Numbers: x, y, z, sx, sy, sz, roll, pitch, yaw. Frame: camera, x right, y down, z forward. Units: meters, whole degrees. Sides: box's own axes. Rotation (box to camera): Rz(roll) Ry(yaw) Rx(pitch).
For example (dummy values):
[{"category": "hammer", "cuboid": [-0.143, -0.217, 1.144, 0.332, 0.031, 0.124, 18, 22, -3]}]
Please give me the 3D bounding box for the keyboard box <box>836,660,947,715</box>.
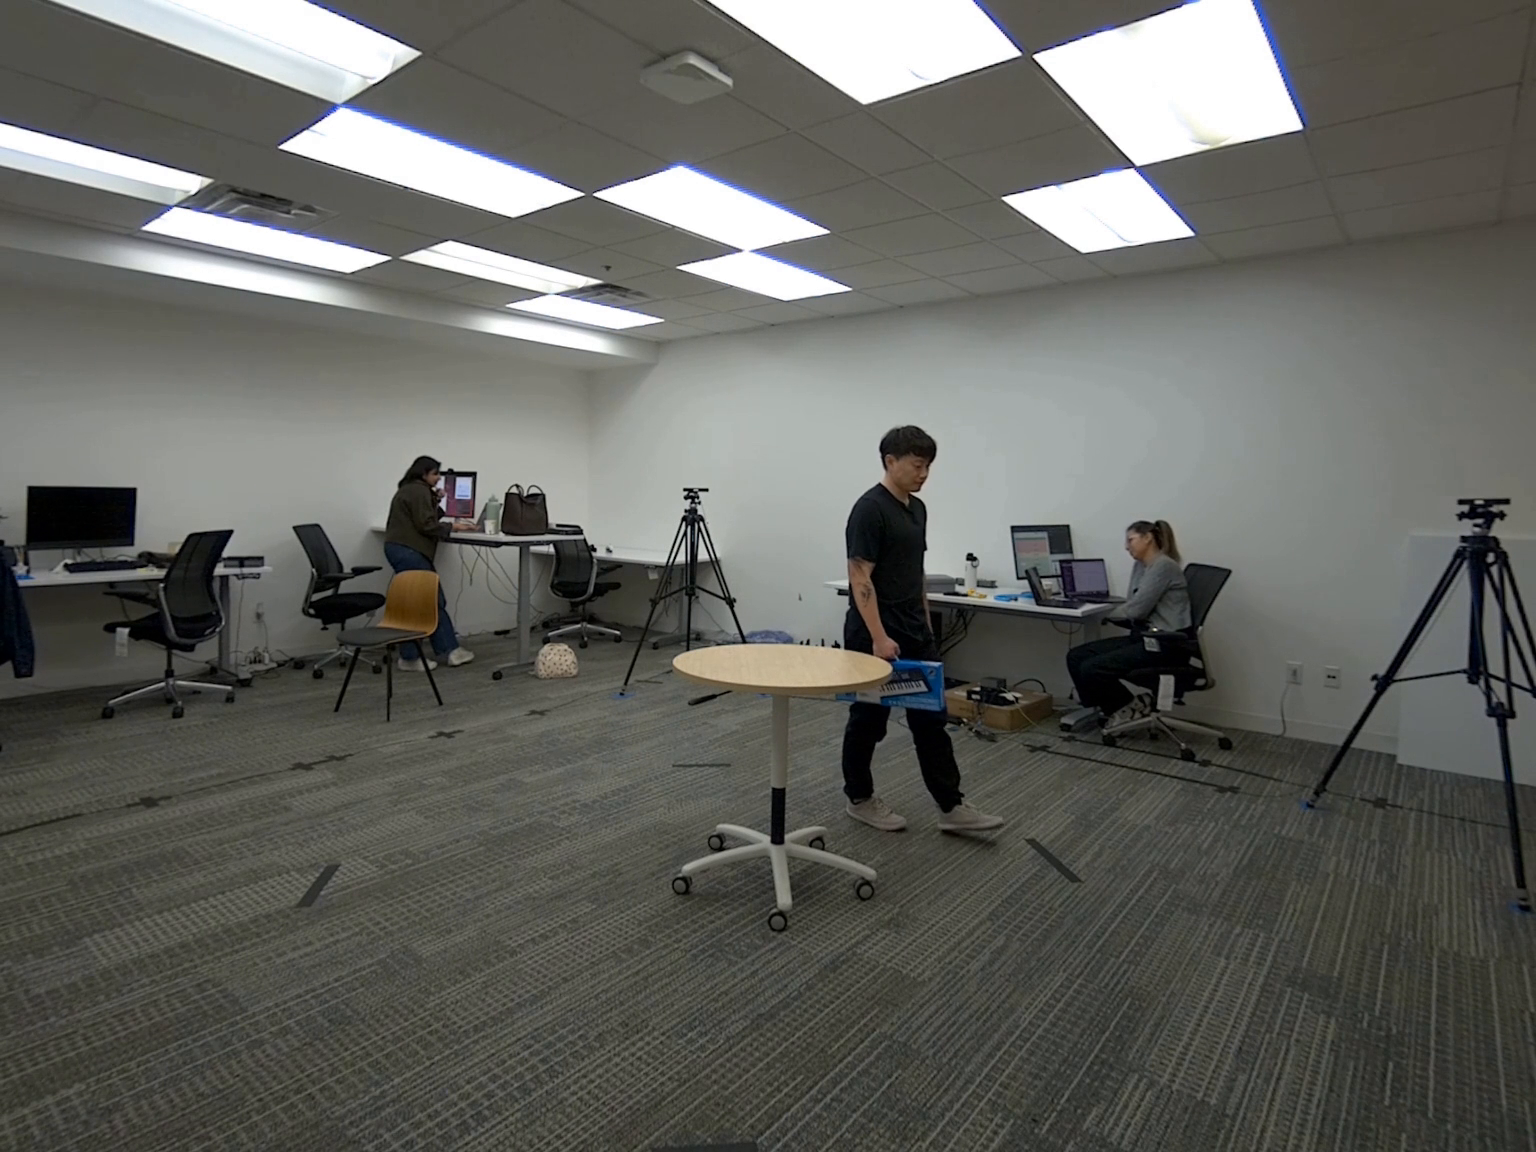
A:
[{"category": "keyboard box", "cuboid": [0.457, 0.415, 3.297, 0.449, 0.175, 0.058, 0, 6, 33]}]
